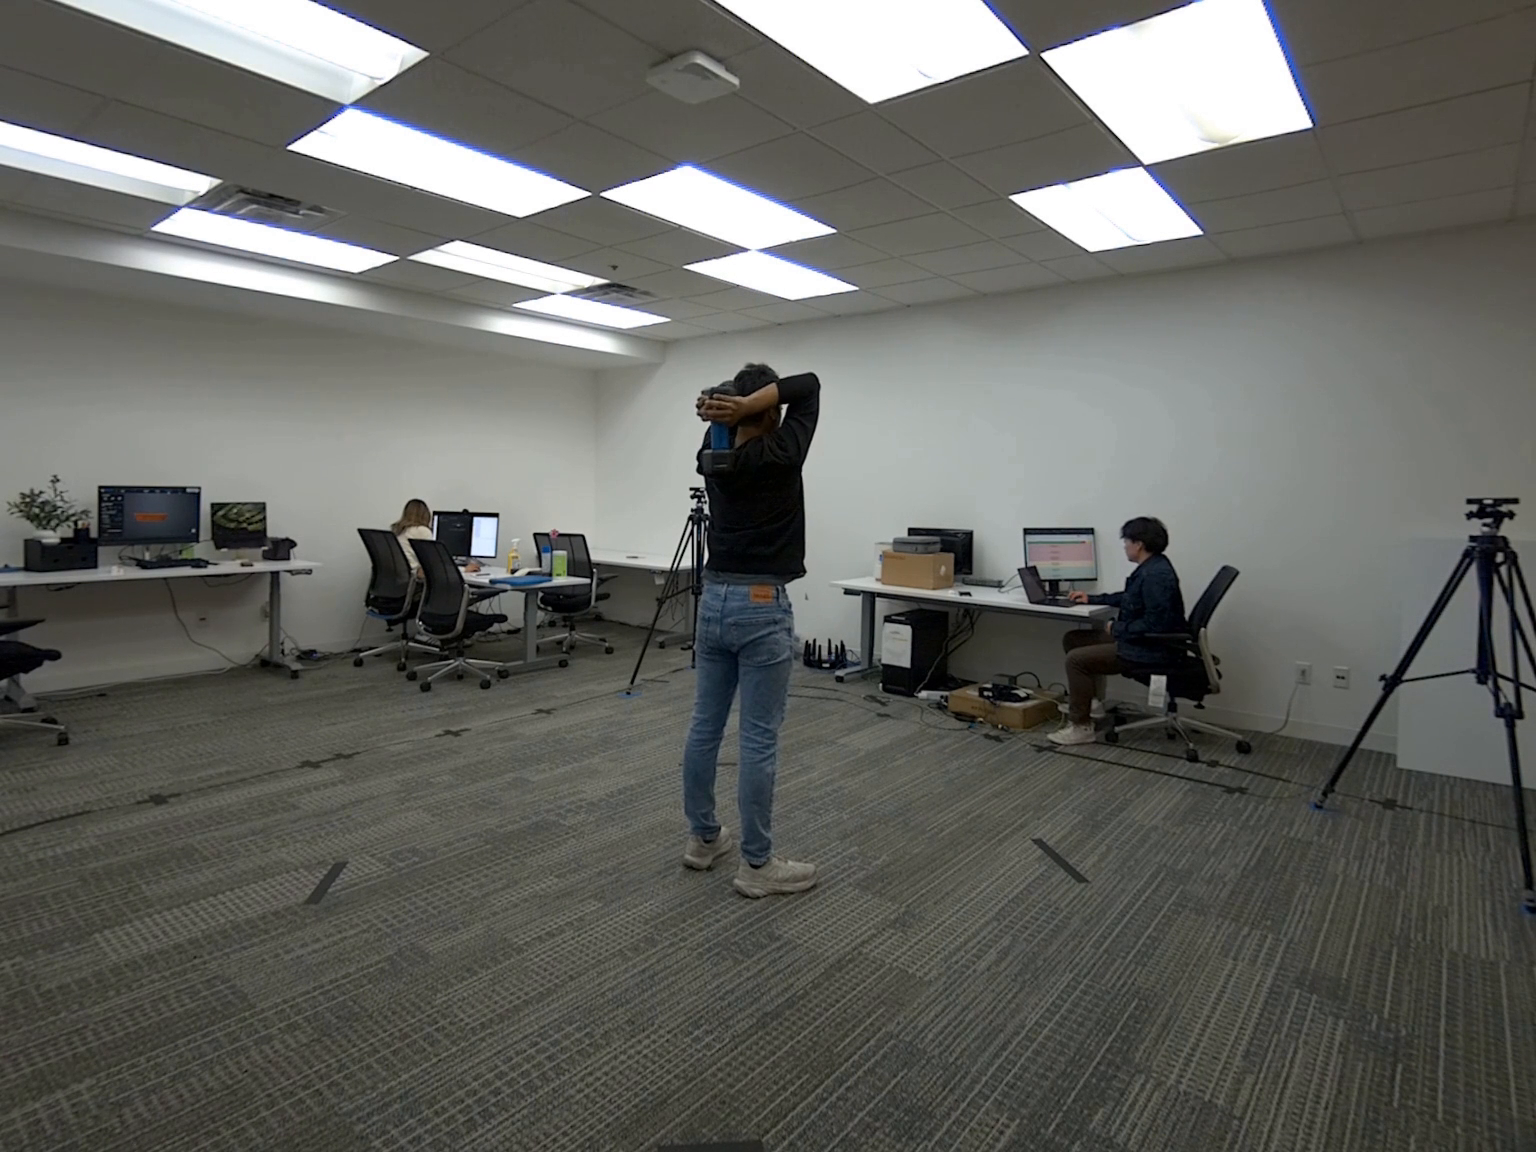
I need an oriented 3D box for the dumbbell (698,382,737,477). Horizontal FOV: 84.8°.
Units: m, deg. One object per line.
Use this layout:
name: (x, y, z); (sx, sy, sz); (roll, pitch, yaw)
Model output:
dumbbell: (-0.175, -0.524, 2.929); (0.105, 0.293, 0.127); (0, 3, -45)
